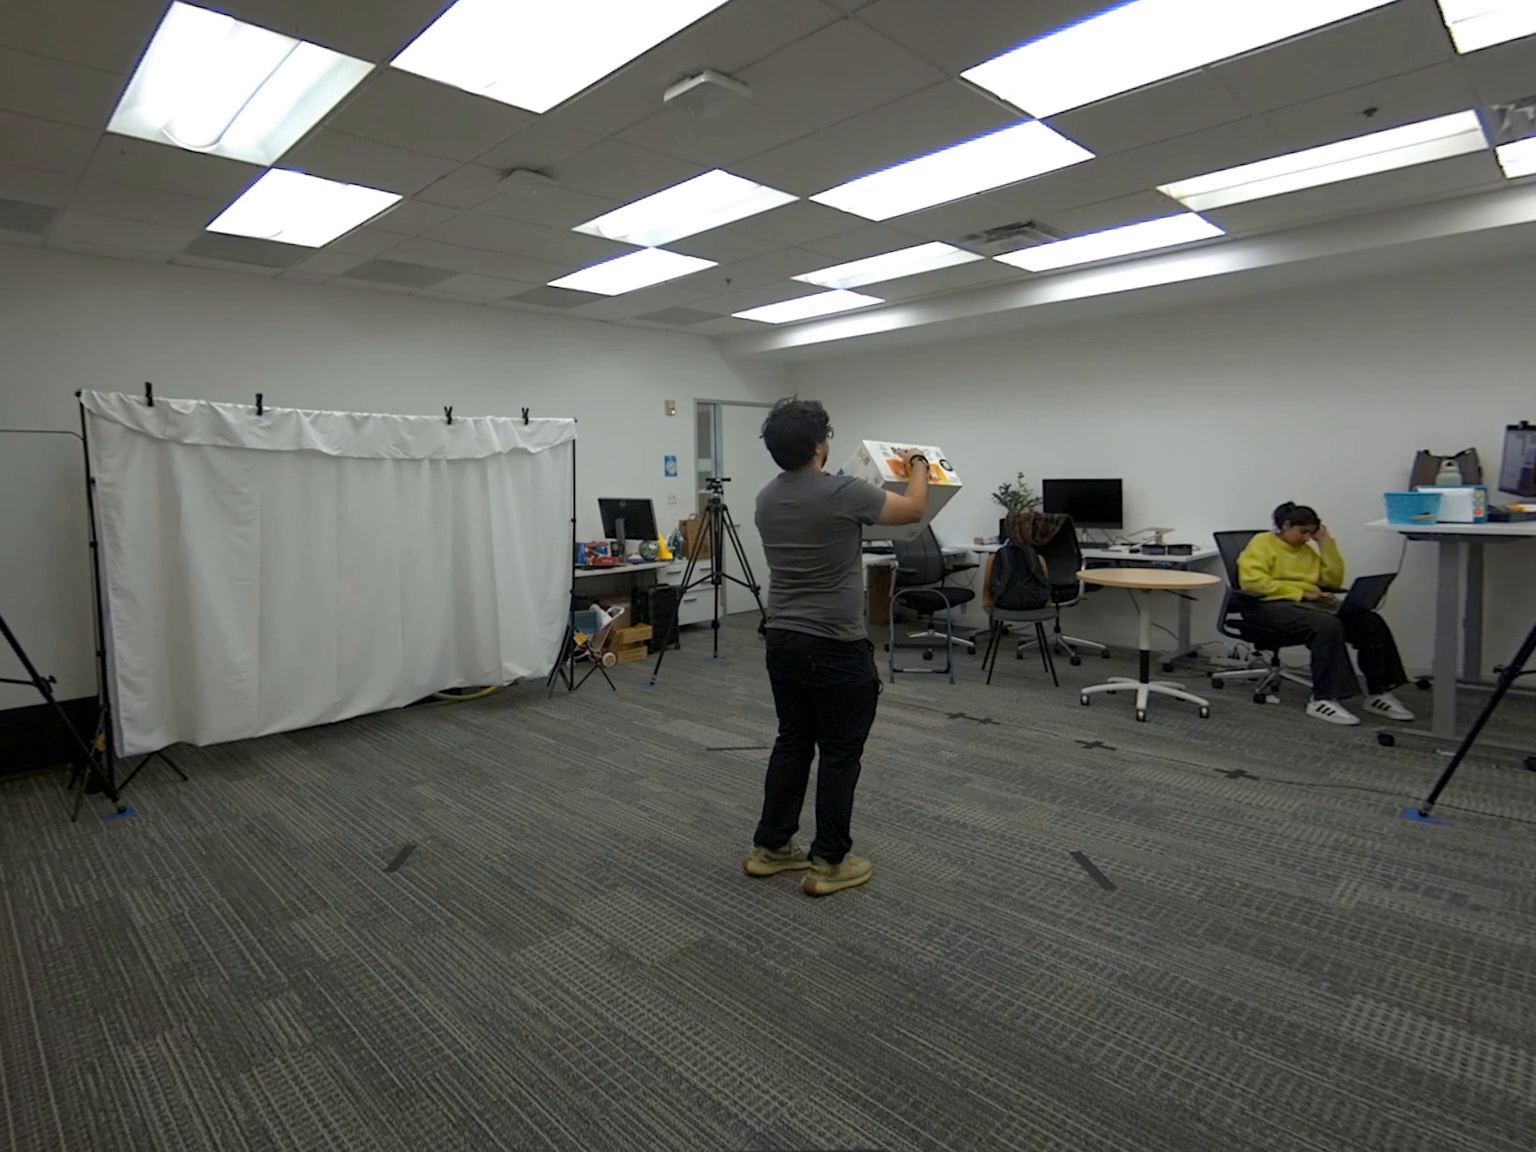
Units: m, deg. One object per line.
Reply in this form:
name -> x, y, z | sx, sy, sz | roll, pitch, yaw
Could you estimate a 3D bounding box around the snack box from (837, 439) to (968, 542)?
snack box -> 0.472, -0.321, 3.299 | 0.394, 0.212, 0.338 | -1, -37, -35
